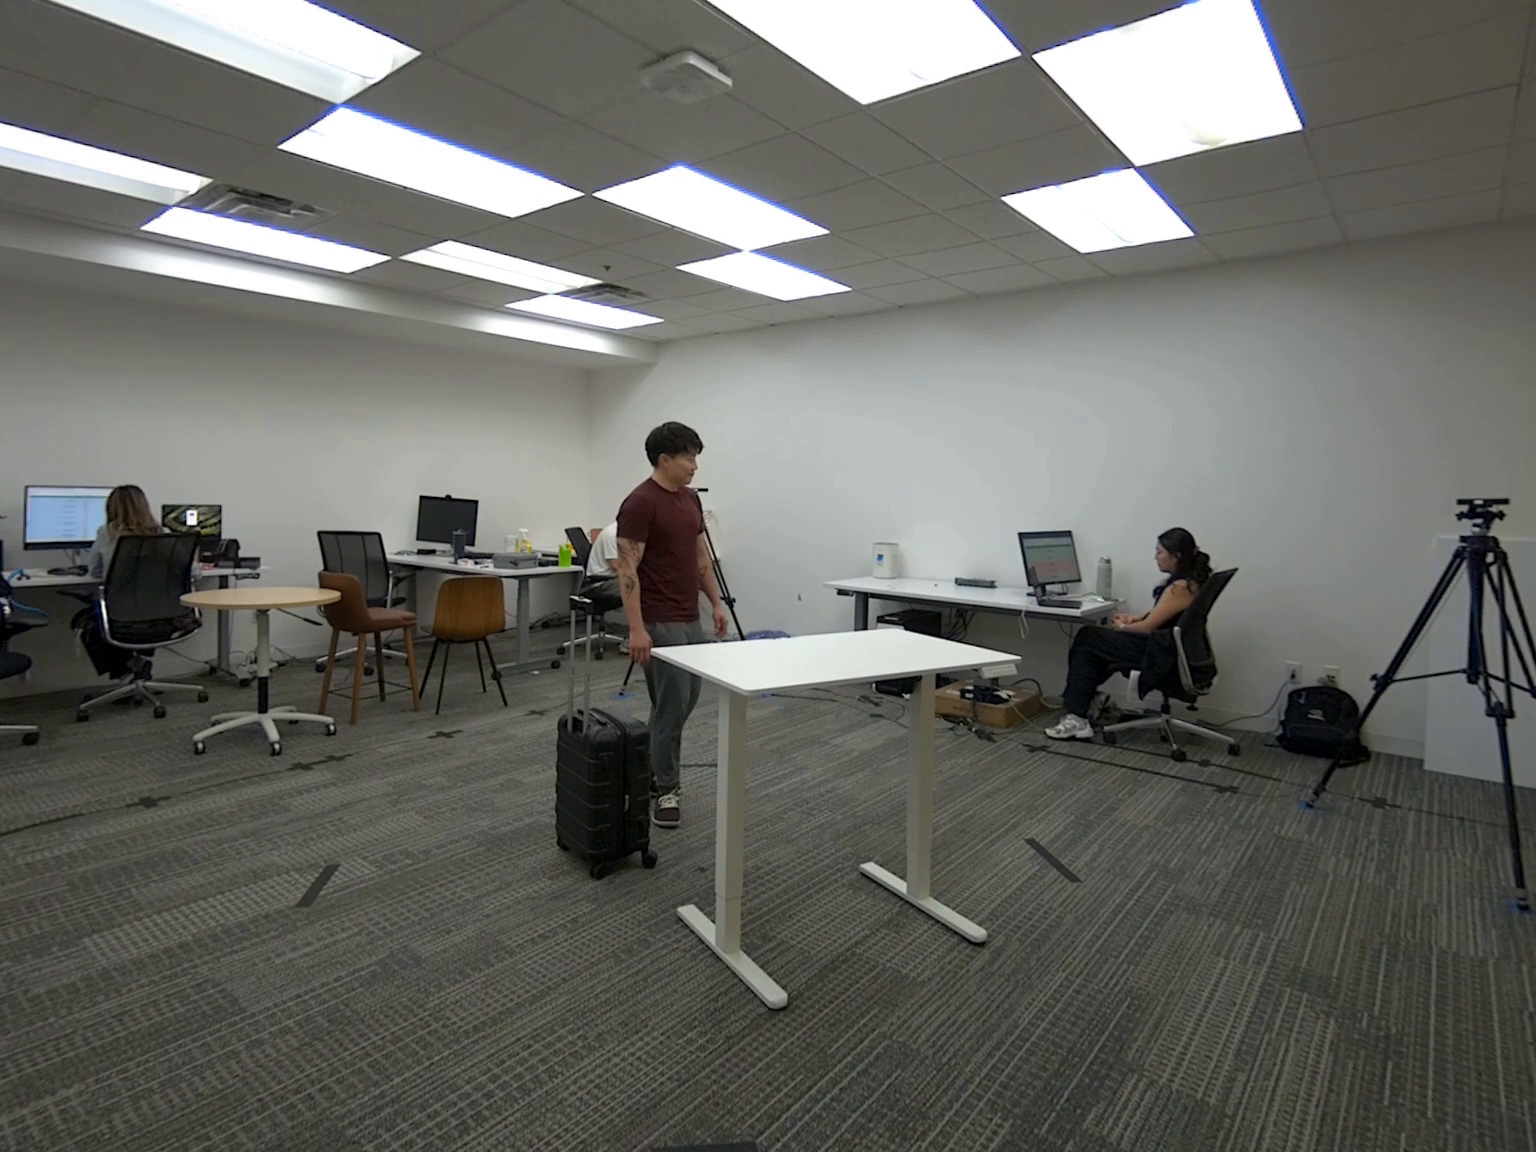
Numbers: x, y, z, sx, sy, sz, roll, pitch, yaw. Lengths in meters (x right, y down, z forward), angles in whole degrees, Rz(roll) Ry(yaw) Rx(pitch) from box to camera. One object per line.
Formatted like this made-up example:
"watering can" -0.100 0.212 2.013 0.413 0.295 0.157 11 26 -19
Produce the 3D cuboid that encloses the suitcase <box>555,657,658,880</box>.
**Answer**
"suitcase" -0.628 0.576 3.170 0.250 0.976 0.396 1 3 -31
